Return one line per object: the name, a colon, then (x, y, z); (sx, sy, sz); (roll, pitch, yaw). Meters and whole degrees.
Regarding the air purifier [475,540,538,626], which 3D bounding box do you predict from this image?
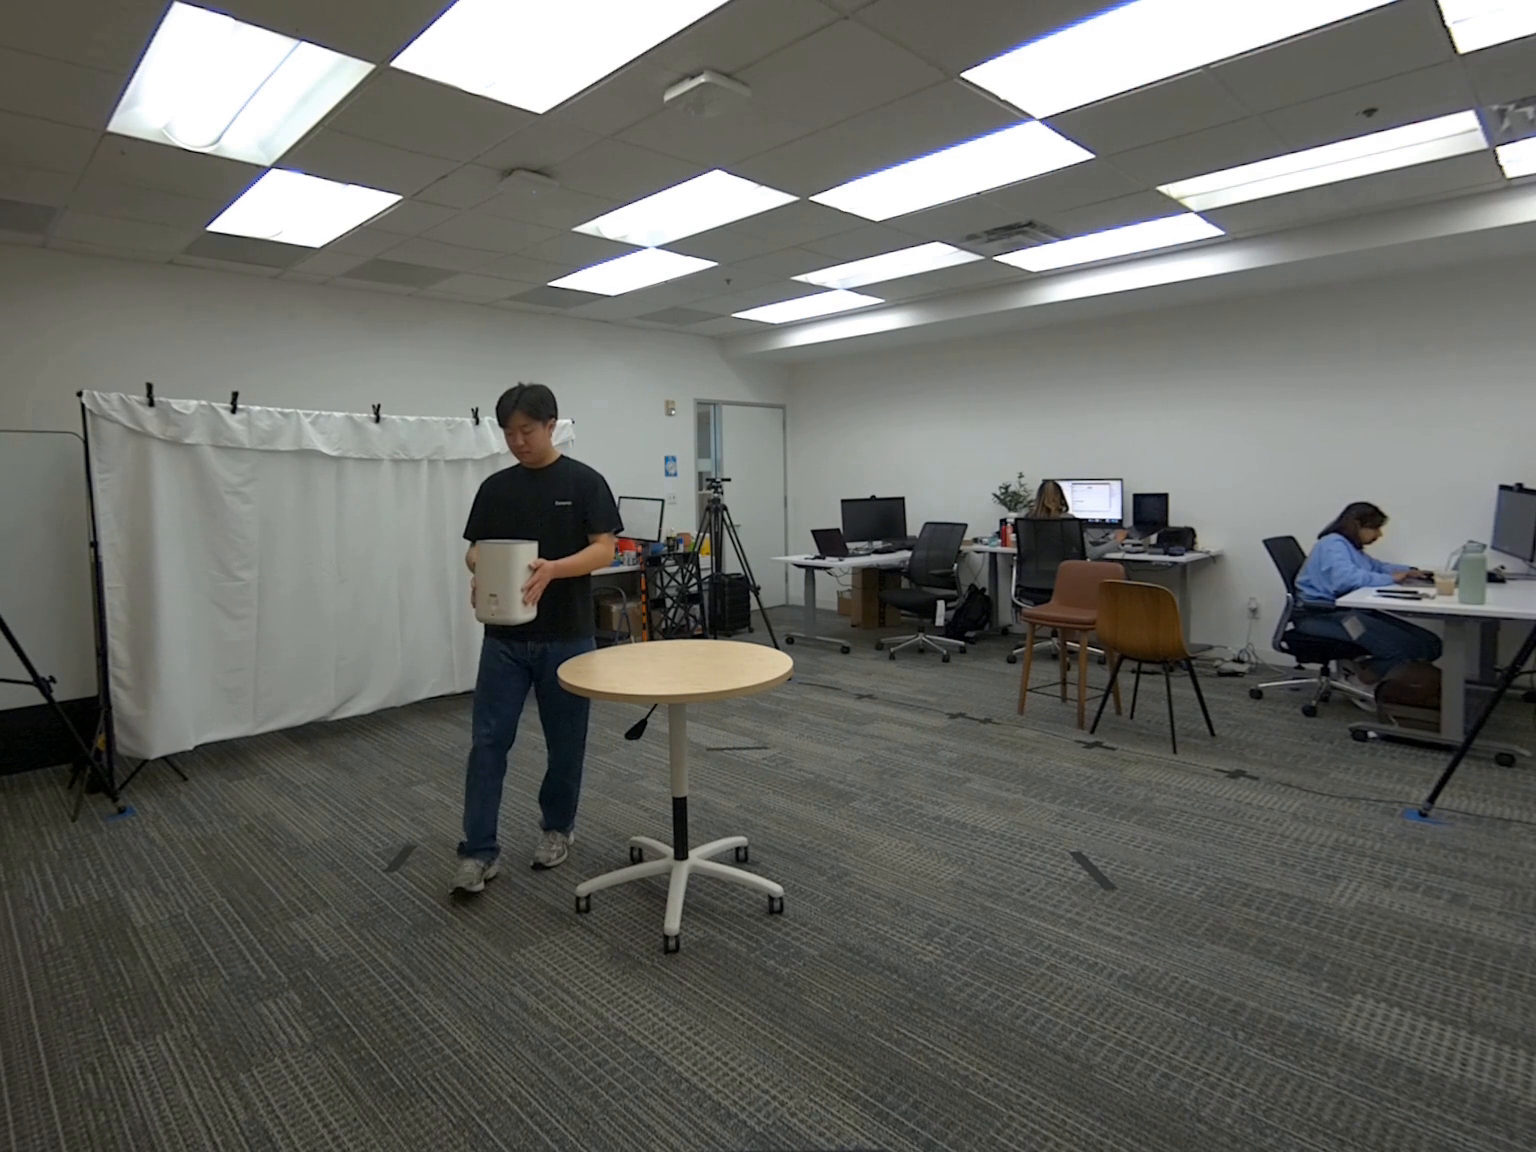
air purifier: (-0.856, 0.021, 2.779); (0.172, 0.265, 0.170); (3, 2, 7)
